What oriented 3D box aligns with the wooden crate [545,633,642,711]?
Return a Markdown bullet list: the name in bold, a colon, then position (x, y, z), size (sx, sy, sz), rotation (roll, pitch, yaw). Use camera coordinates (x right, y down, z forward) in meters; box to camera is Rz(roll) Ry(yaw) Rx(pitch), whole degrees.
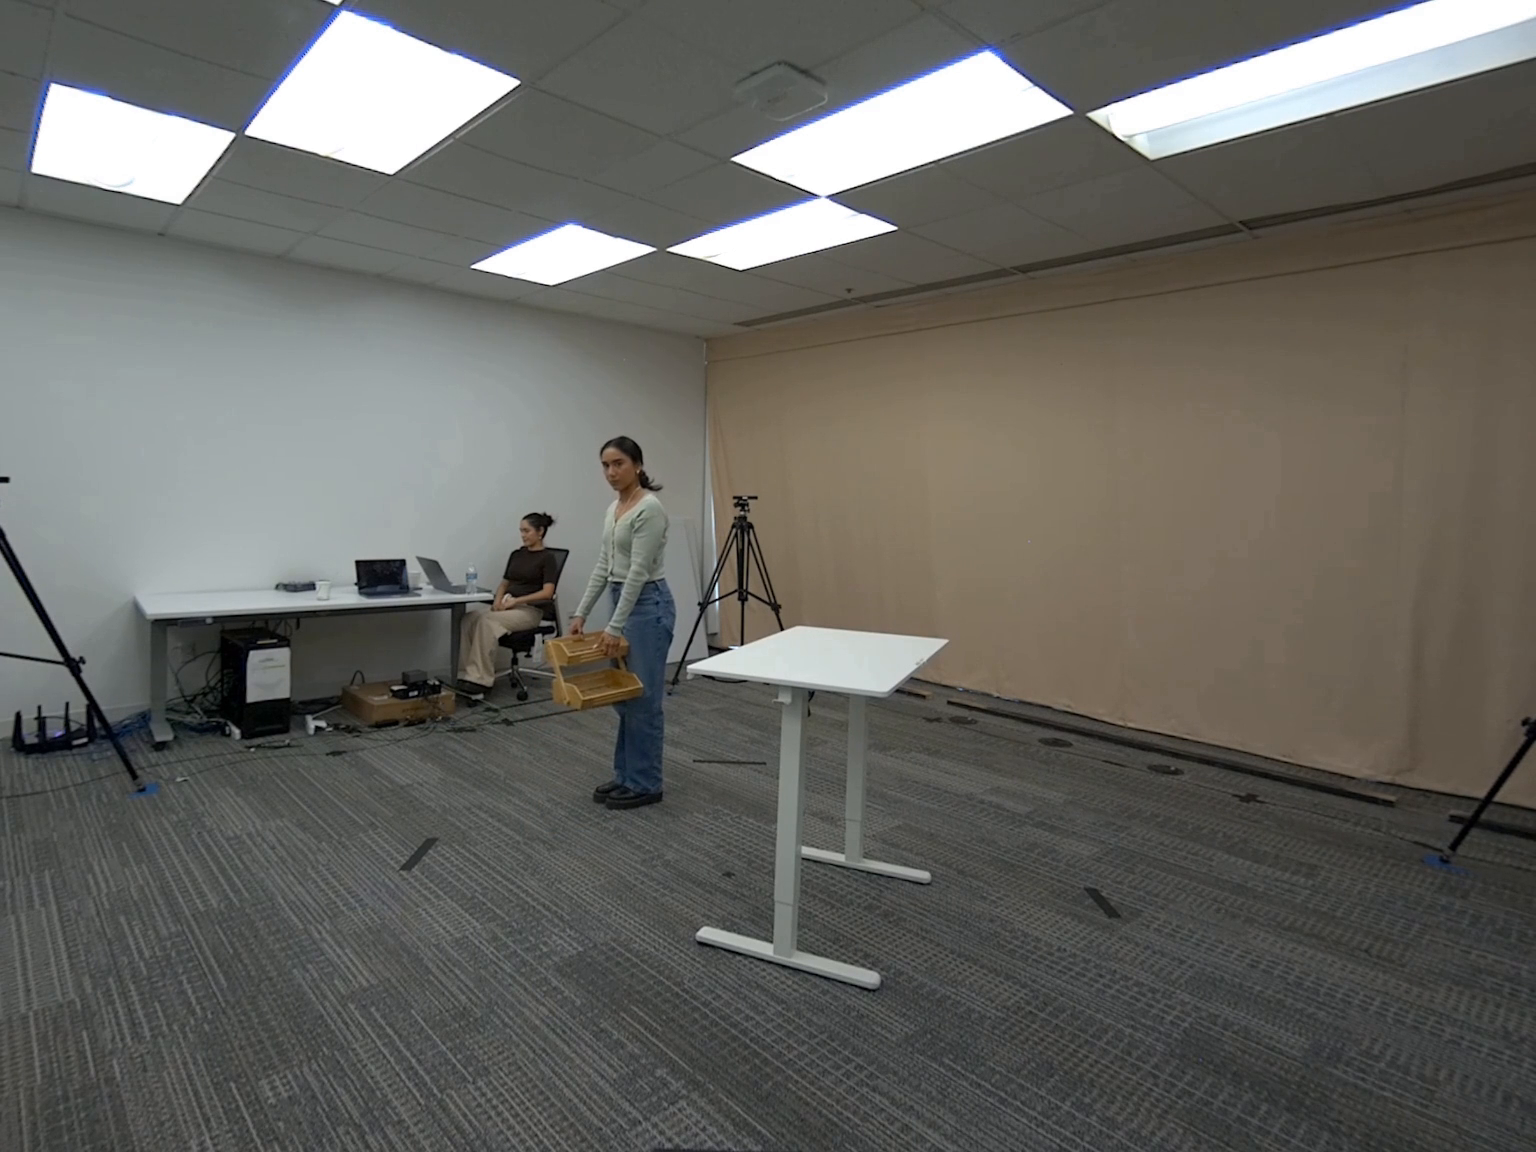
- **wooden crate**: position (-0.778, 0.398, 3.638), size (0.317, 0.273, 0.309), rotation (-6, 5, -41)
